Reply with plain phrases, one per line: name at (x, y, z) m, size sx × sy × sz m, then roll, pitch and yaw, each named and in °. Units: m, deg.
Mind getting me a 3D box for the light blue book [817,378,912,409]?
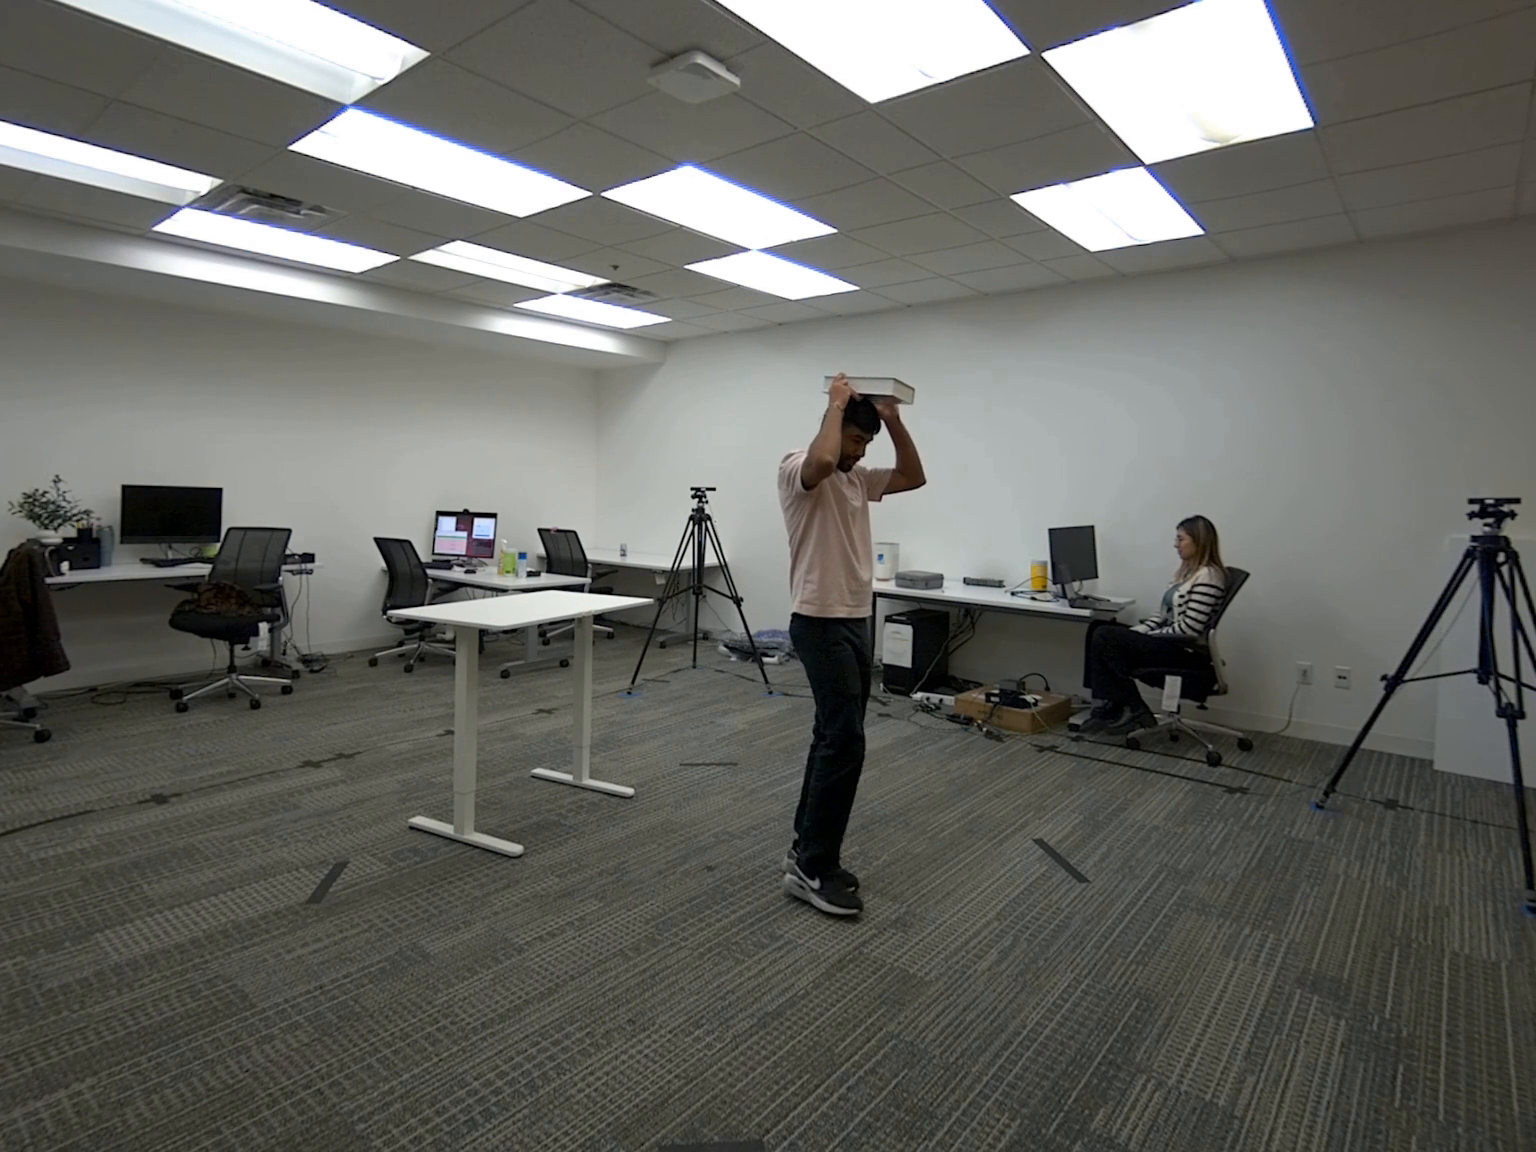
light blue book at (0.333, -0.634, 2.913) m, size 0.270 × 0.059 × 0.185 m, roll 11°, pitch 4°, yaw 33°
